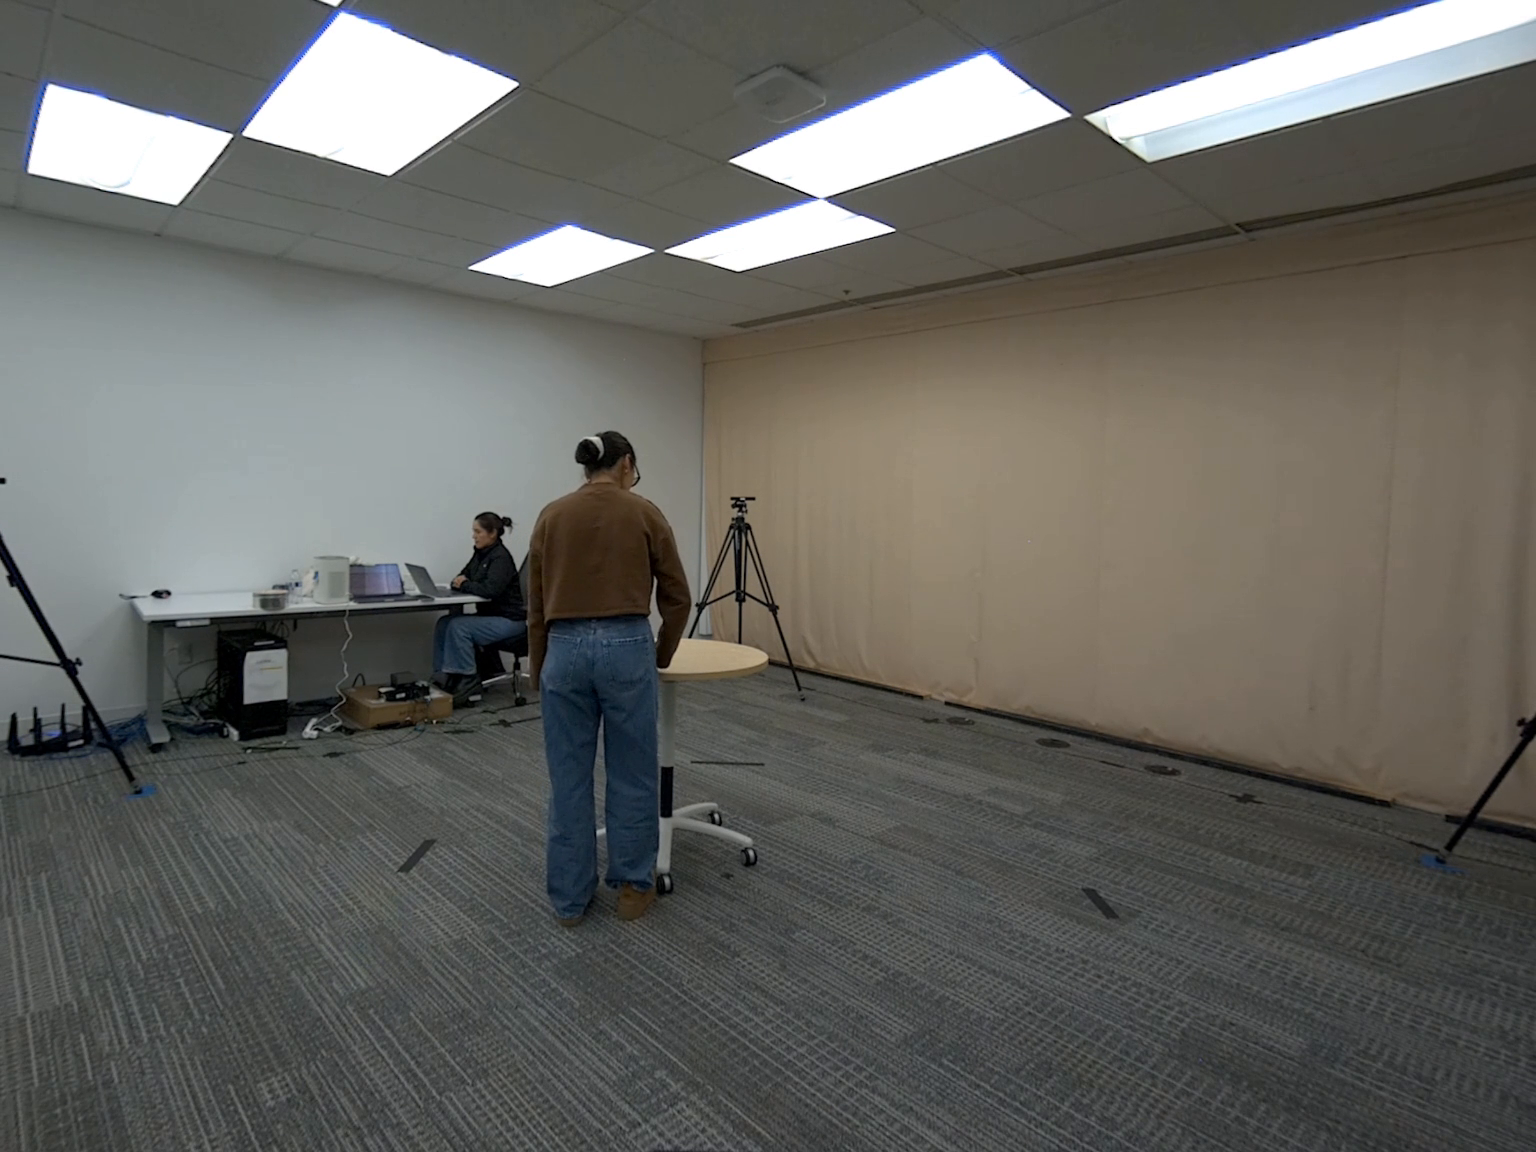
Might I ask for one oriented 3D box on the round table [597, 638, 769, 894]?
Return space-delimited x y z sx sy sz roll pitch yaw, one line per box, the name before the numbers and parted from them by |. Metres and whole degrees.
round table | -0.400 0.698 3.294 0.763 0.792 0.766 1 4 -1
